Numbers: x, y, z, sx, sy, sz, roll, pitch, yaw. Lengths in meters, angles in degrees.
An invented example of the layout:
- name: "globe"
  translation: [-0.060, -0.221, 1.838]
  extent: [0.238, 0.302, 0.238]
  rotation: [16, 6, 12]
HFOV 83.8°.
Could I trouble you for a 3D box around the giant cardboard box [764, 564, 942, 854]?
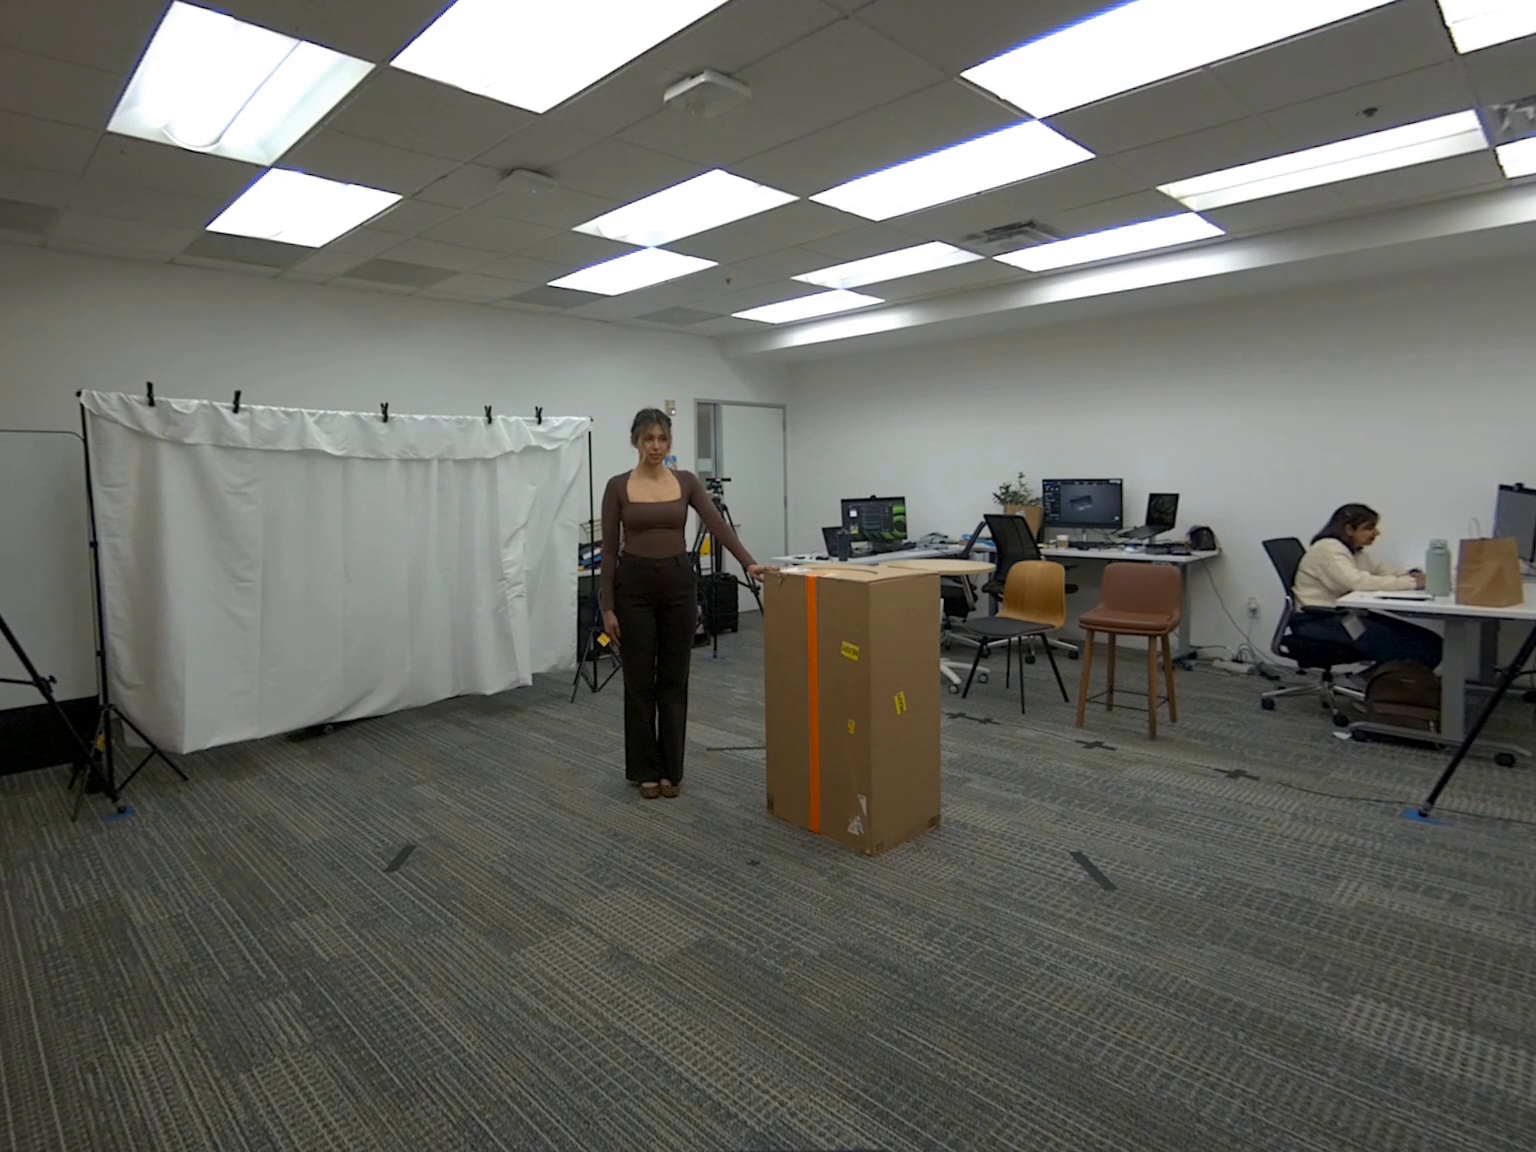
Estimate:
- name: "giant cardboard box"
  translation: [0.334, 0.486, 3.456]
  extent: [0.435, 1.023, 0.602]
  rotation: [-5, 6, -39]
